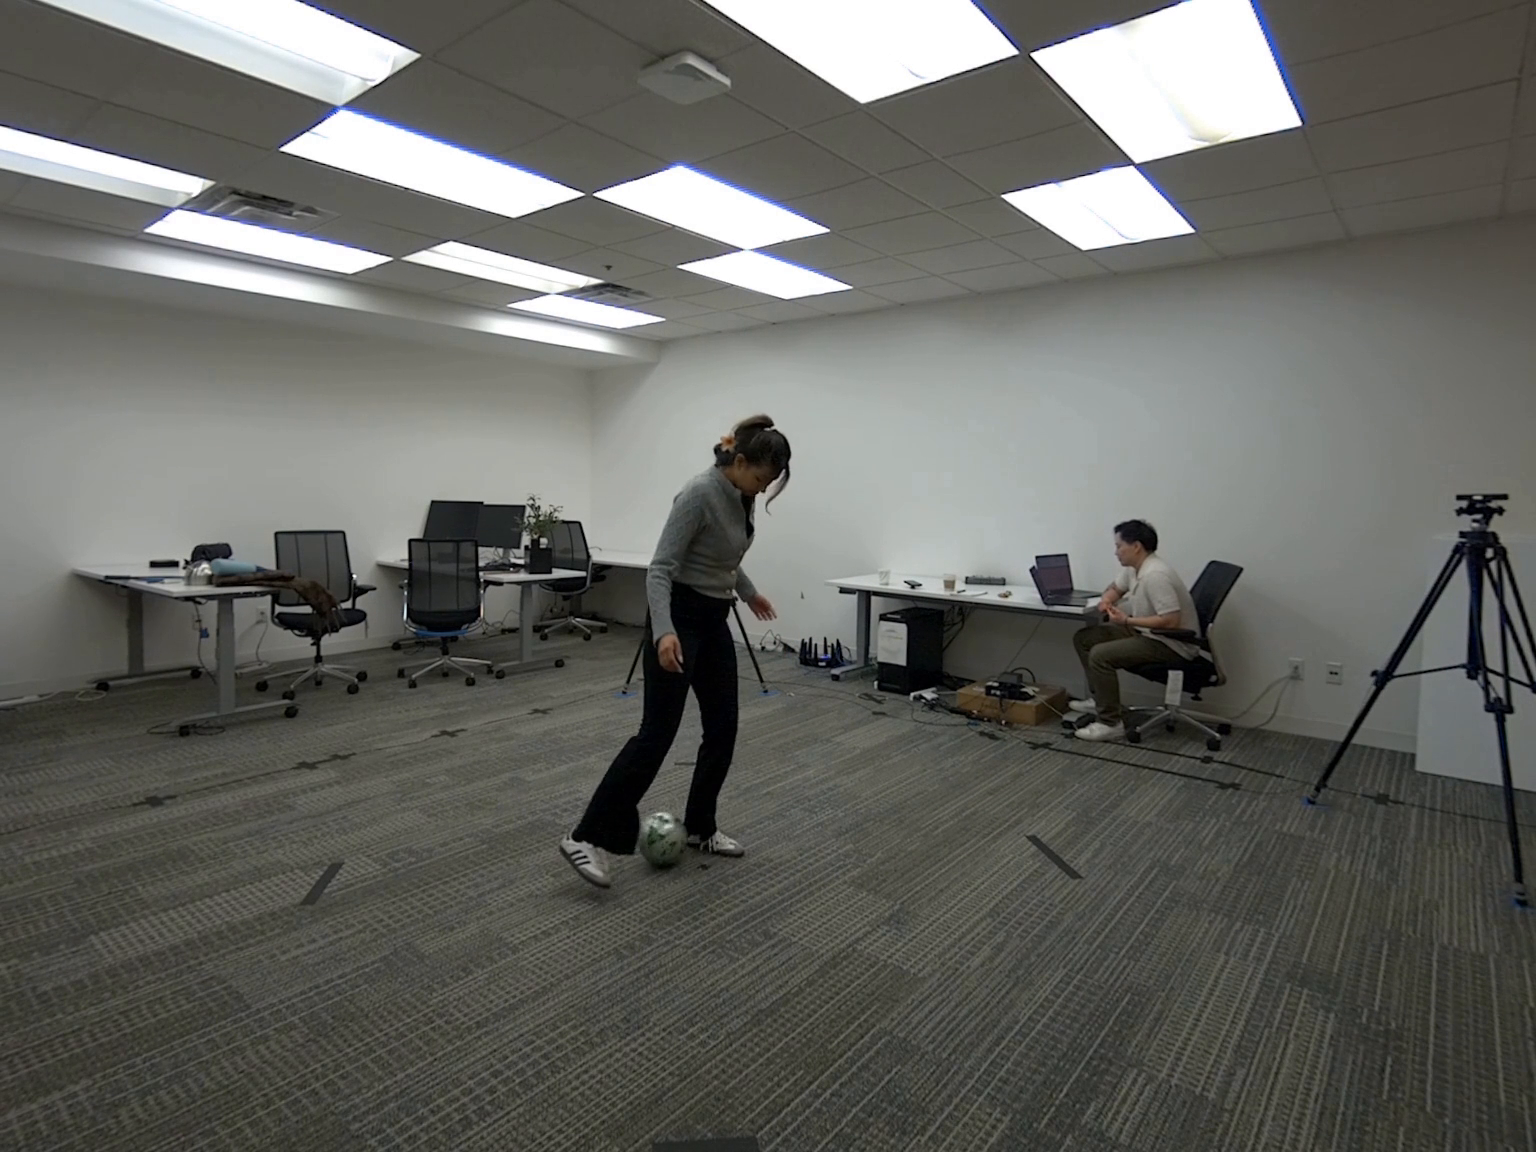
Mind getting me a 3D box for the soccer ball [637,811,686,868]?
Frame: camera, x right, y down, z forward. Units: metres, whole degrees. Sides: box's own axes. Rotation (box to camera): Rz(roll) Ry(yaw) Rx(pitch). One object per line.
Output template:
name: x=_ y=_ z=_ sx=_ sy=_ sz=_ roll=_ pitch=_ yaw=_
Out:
soccer ball: x=-0.385 y=0.965 z=3.142 sx=0.187 sy=0.187 sz=0.188 roll=1 pitch=4 yaw=-2
